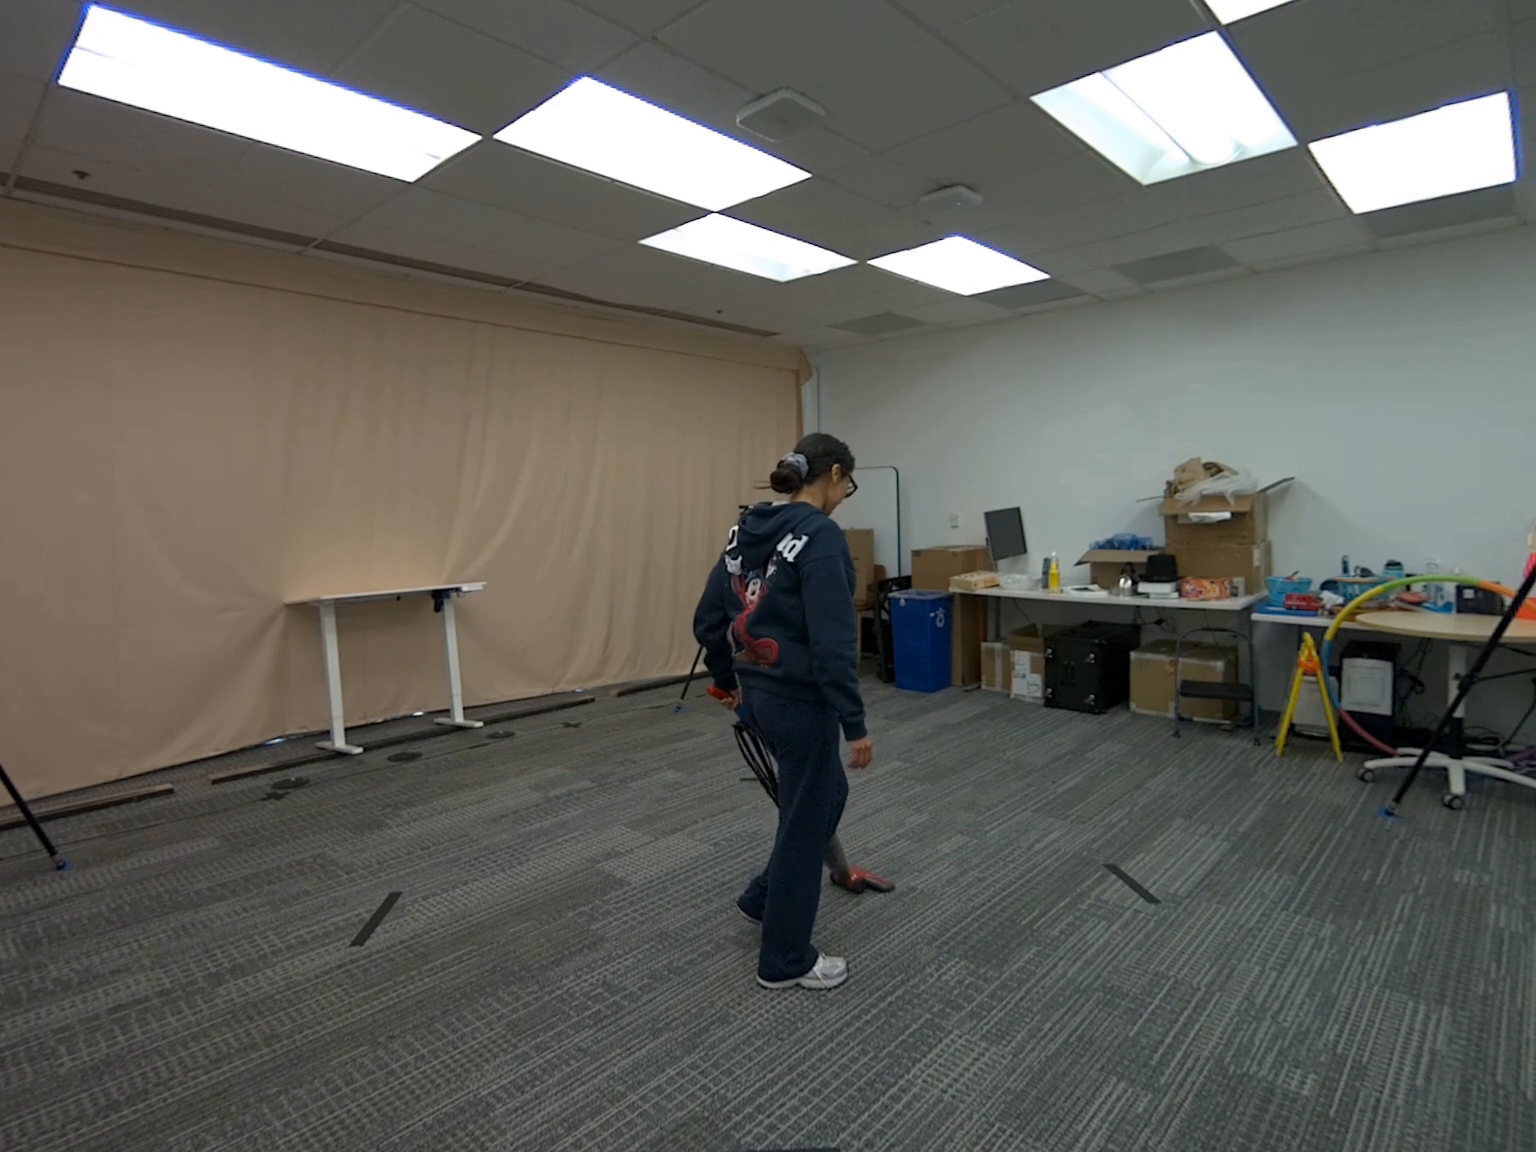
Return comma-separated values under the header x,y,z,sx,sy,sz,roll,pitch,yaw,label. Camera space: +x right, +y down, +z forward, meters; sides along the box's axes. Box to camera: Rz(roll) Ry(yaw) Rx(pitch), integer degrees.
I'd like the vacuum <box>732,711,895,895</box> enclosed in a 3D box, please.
x,y,z,sx,sy,sz,roll,pitch,yaw,label
0.094,0.743,2.866,0.260,1.022,0.143,-4,39,45,vacuum
